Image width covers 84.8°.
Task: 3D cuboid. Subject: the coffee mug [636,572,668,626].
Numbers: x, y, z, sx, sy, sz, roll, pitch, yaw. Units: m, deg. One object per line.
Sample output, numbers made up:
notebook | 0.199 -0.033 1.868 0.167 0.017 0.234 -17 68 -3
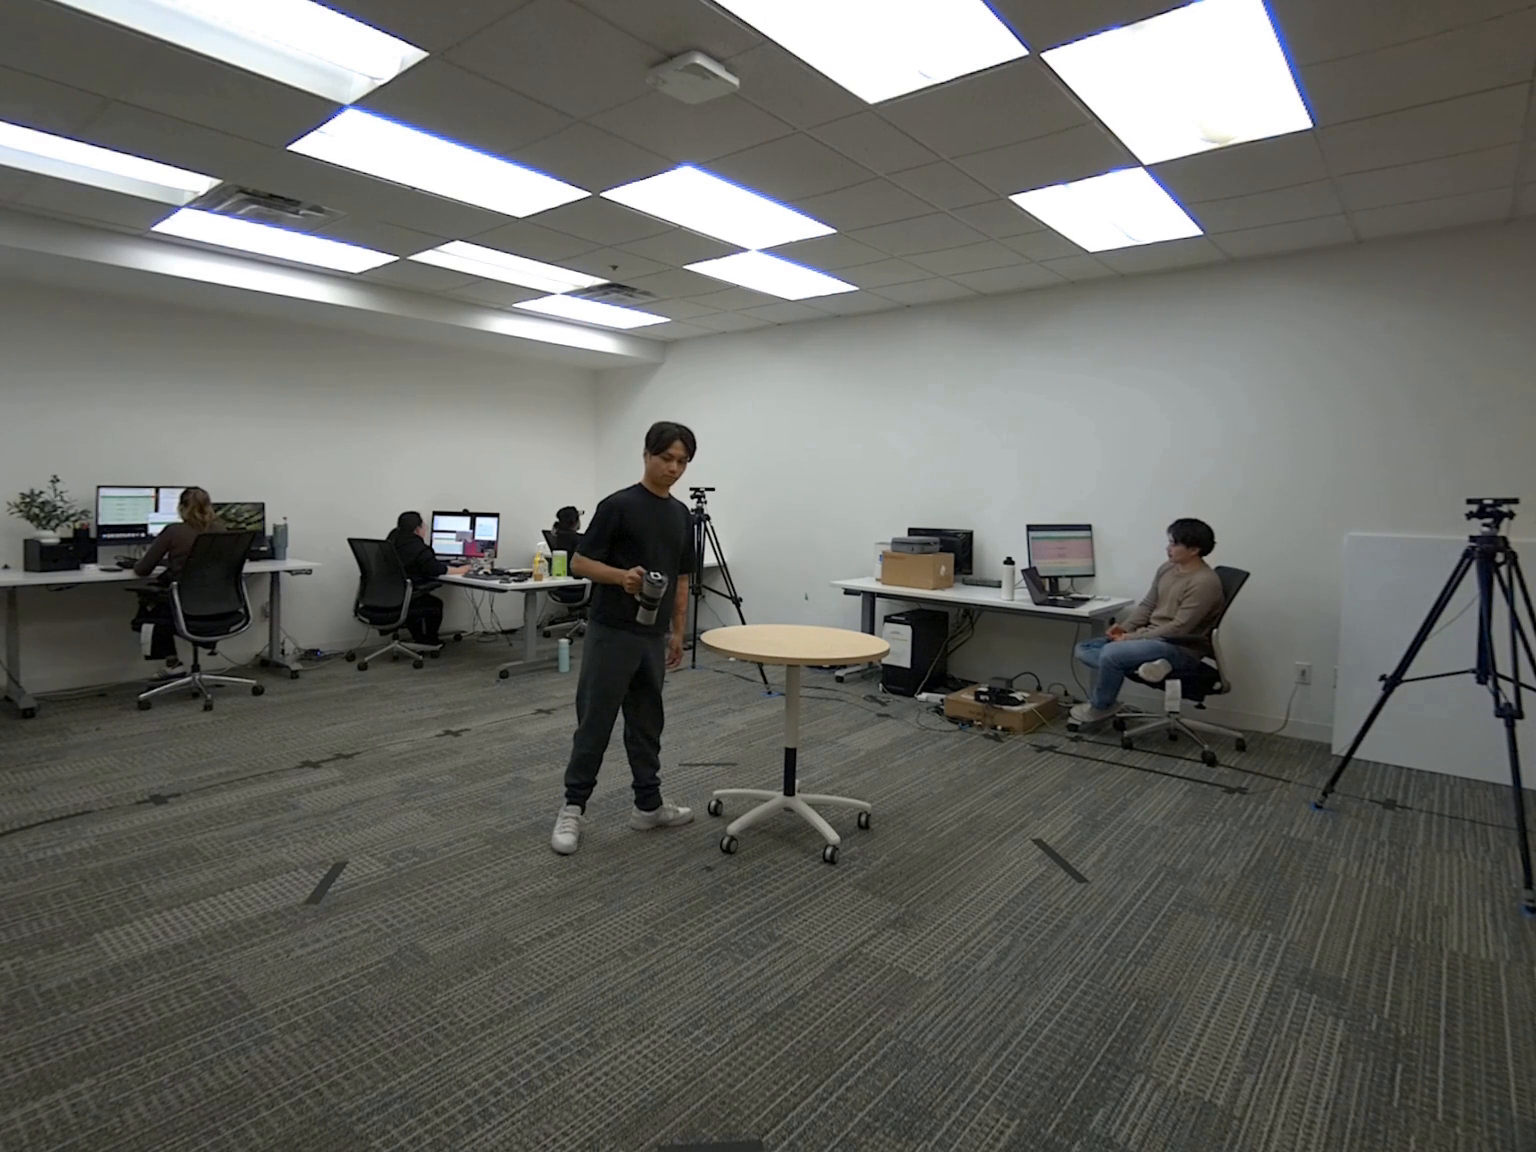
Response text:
coffee mug | -0.466 0.077 3.165 0.085 0.200 0.127 -6 35 -39
